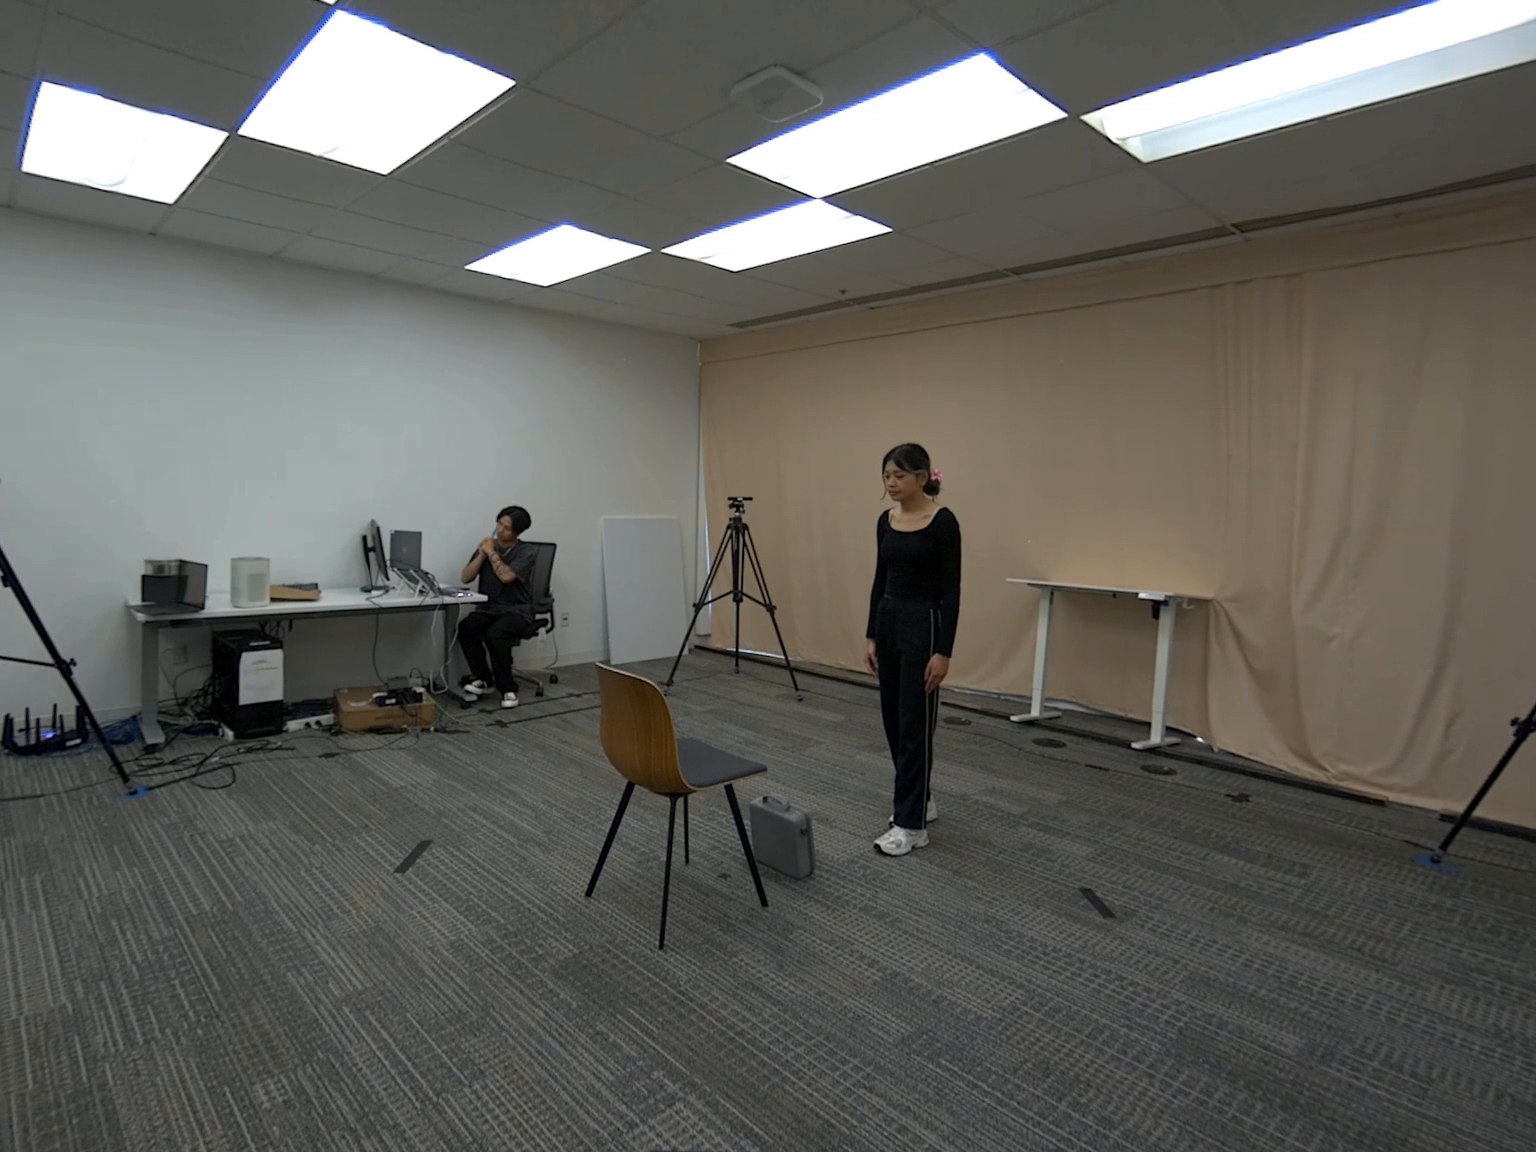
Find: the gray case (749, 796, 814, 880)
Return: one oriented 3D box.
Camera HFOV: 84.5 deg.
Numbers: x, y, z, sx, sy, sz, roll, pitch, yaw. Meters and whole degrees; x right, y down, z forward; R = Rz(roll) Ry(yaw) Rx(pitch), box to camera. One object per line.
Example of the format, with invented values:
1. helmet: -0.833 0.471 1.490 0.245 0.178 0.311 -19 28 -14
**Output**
1. gray case: 0.044 0.974 3.169 0.102 0.258 0.263 -15 14 -42
